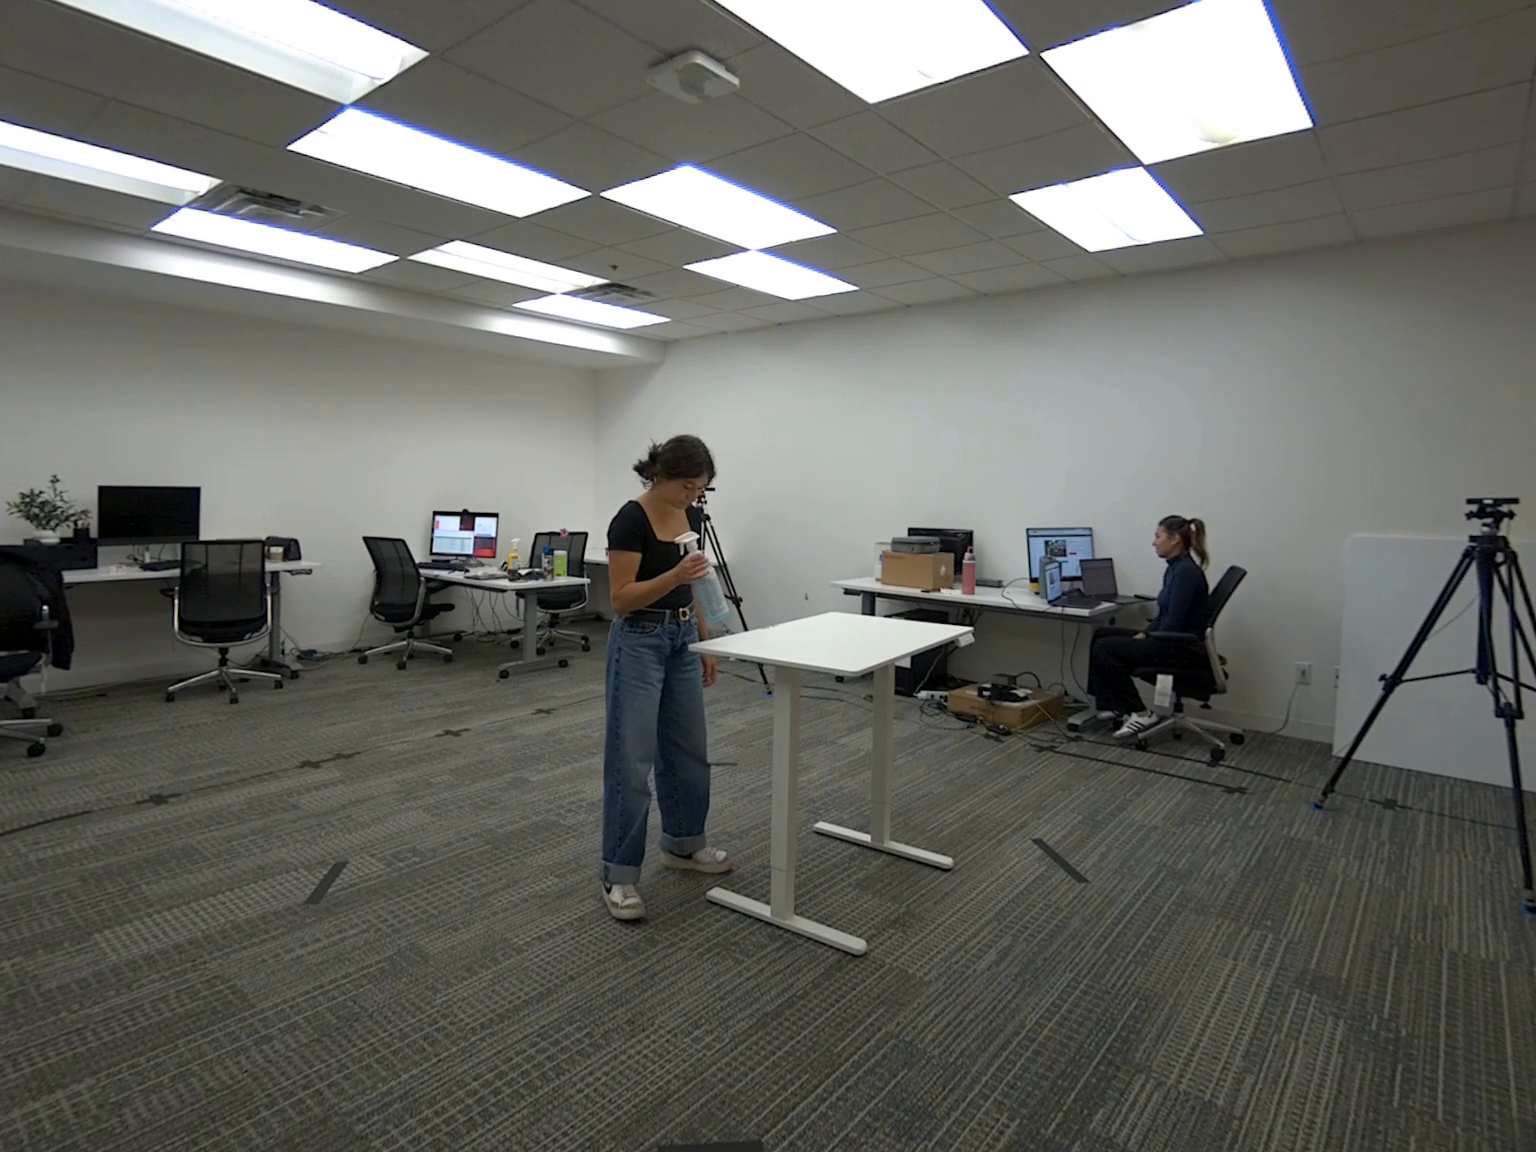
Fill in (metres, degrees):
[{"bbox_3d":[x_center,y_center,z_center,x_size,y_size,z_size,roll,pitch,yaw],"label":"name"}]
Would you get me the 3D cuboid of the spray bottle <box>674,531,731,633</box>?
[{"bbox_3d":[-0.210,-0.004,2.706,0.089,0.292,0.089,-24,14,-14],"label":"spray bottle"}]
